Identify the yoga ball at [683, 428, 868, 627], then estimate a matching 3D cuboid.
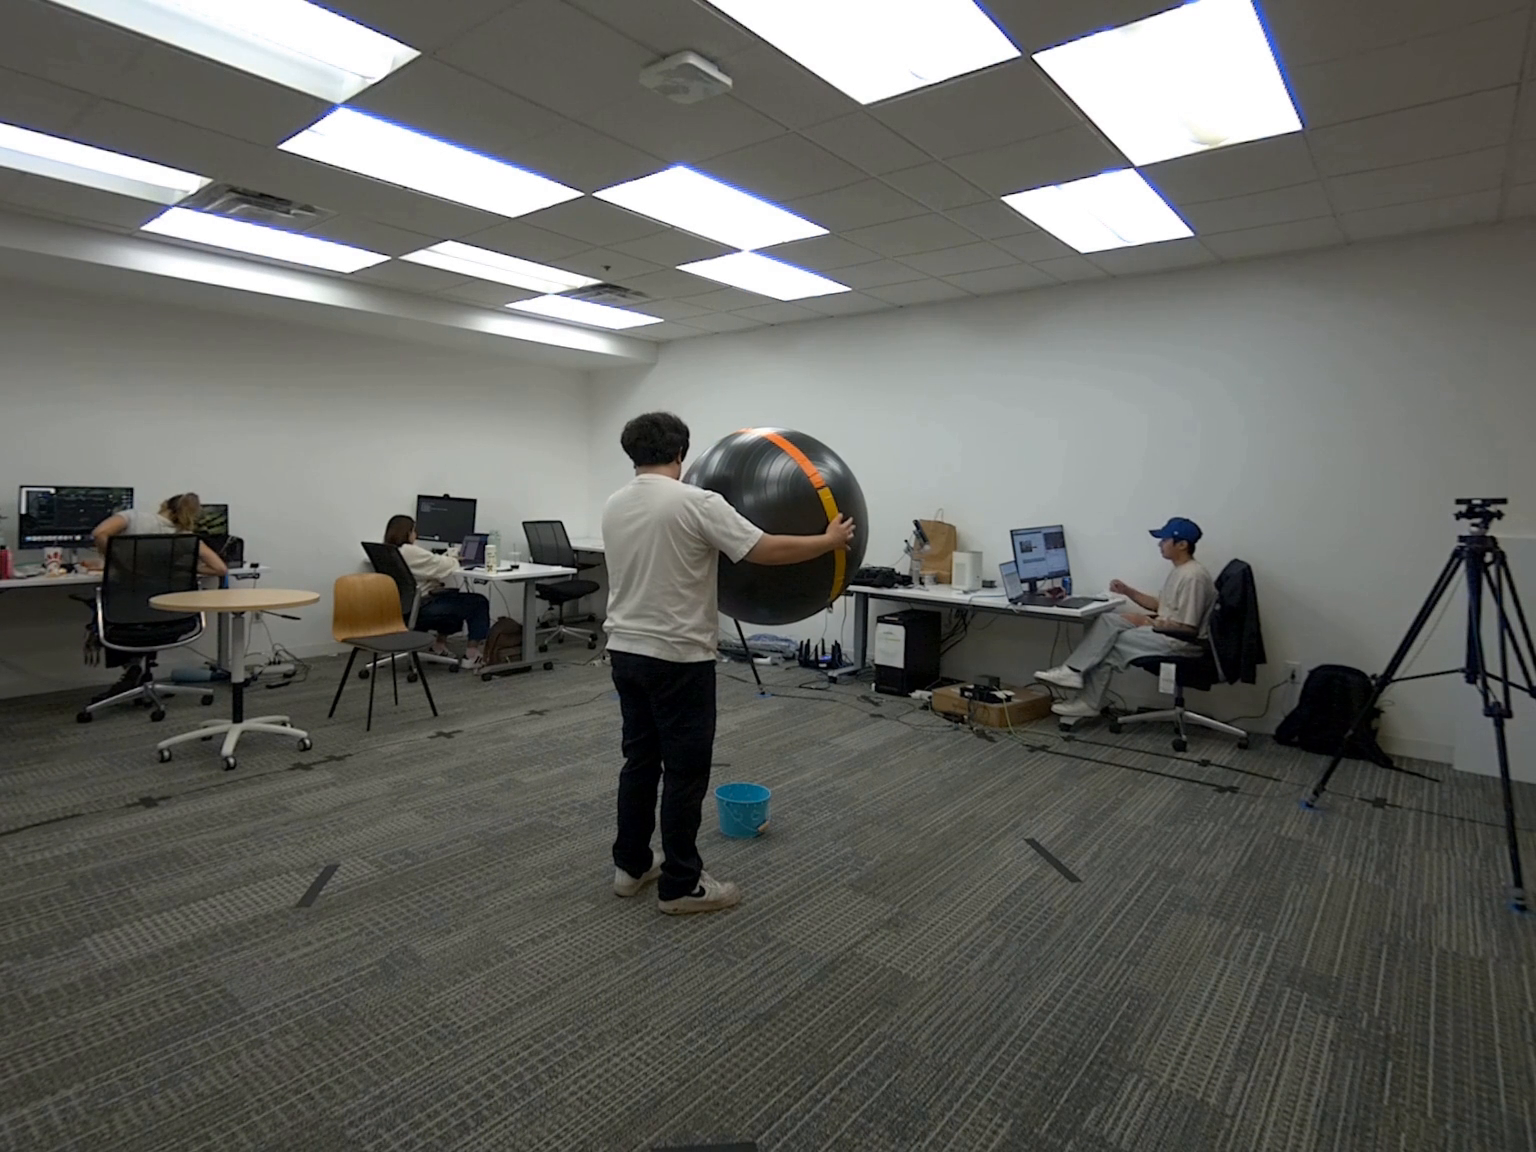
[{"bbox_3d":[0.003,-0.183,3.284,0.757,0.755,0.762,1,4,-2],"label":"yoga ball"}]
